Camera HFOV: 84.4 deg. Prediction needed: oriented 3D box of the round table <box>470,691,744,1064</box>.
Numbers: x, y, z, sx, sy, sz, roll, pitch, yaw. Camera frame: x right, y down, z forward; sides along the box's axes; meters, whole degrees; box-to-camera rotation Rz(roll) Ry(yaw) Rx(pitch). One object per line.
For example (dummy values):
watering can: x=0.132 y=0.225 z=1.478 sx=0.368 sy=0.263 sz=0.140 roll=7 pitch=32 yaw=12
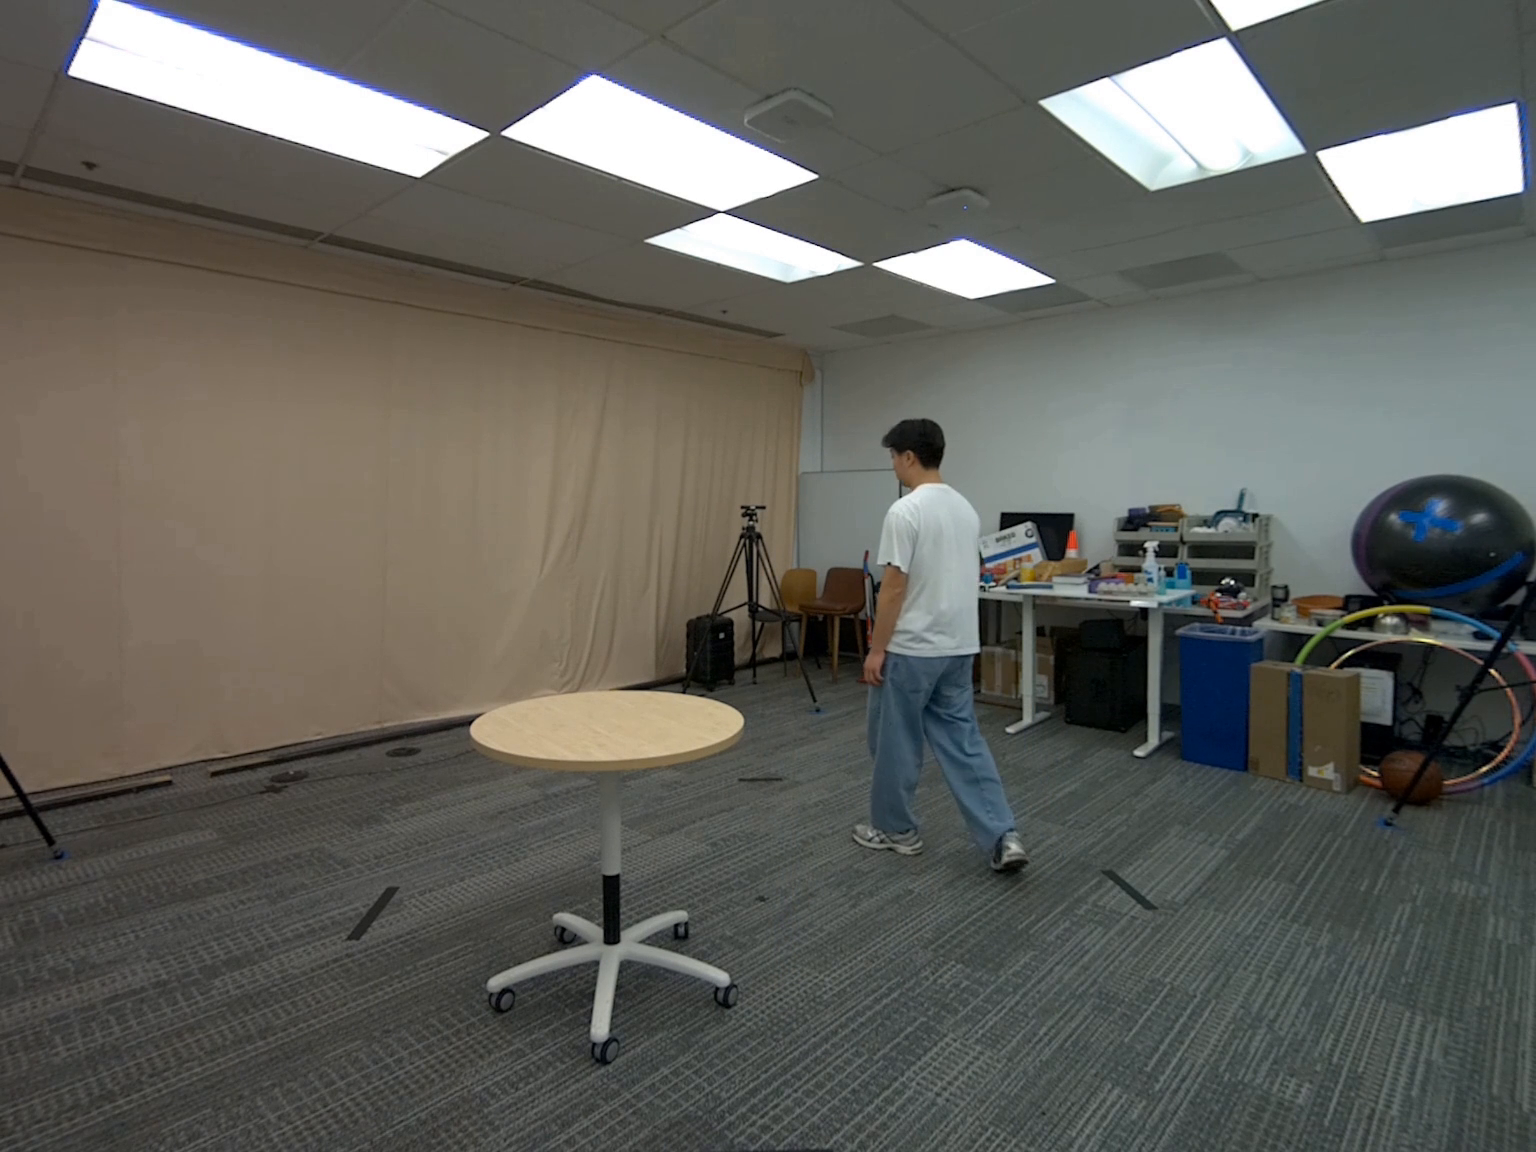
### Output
round table: x=-0.442 y=0.808 z=2.410 sx=0.763 sy=0.792 sz=0.767 roll=0 pitch=4 yaw=-2
